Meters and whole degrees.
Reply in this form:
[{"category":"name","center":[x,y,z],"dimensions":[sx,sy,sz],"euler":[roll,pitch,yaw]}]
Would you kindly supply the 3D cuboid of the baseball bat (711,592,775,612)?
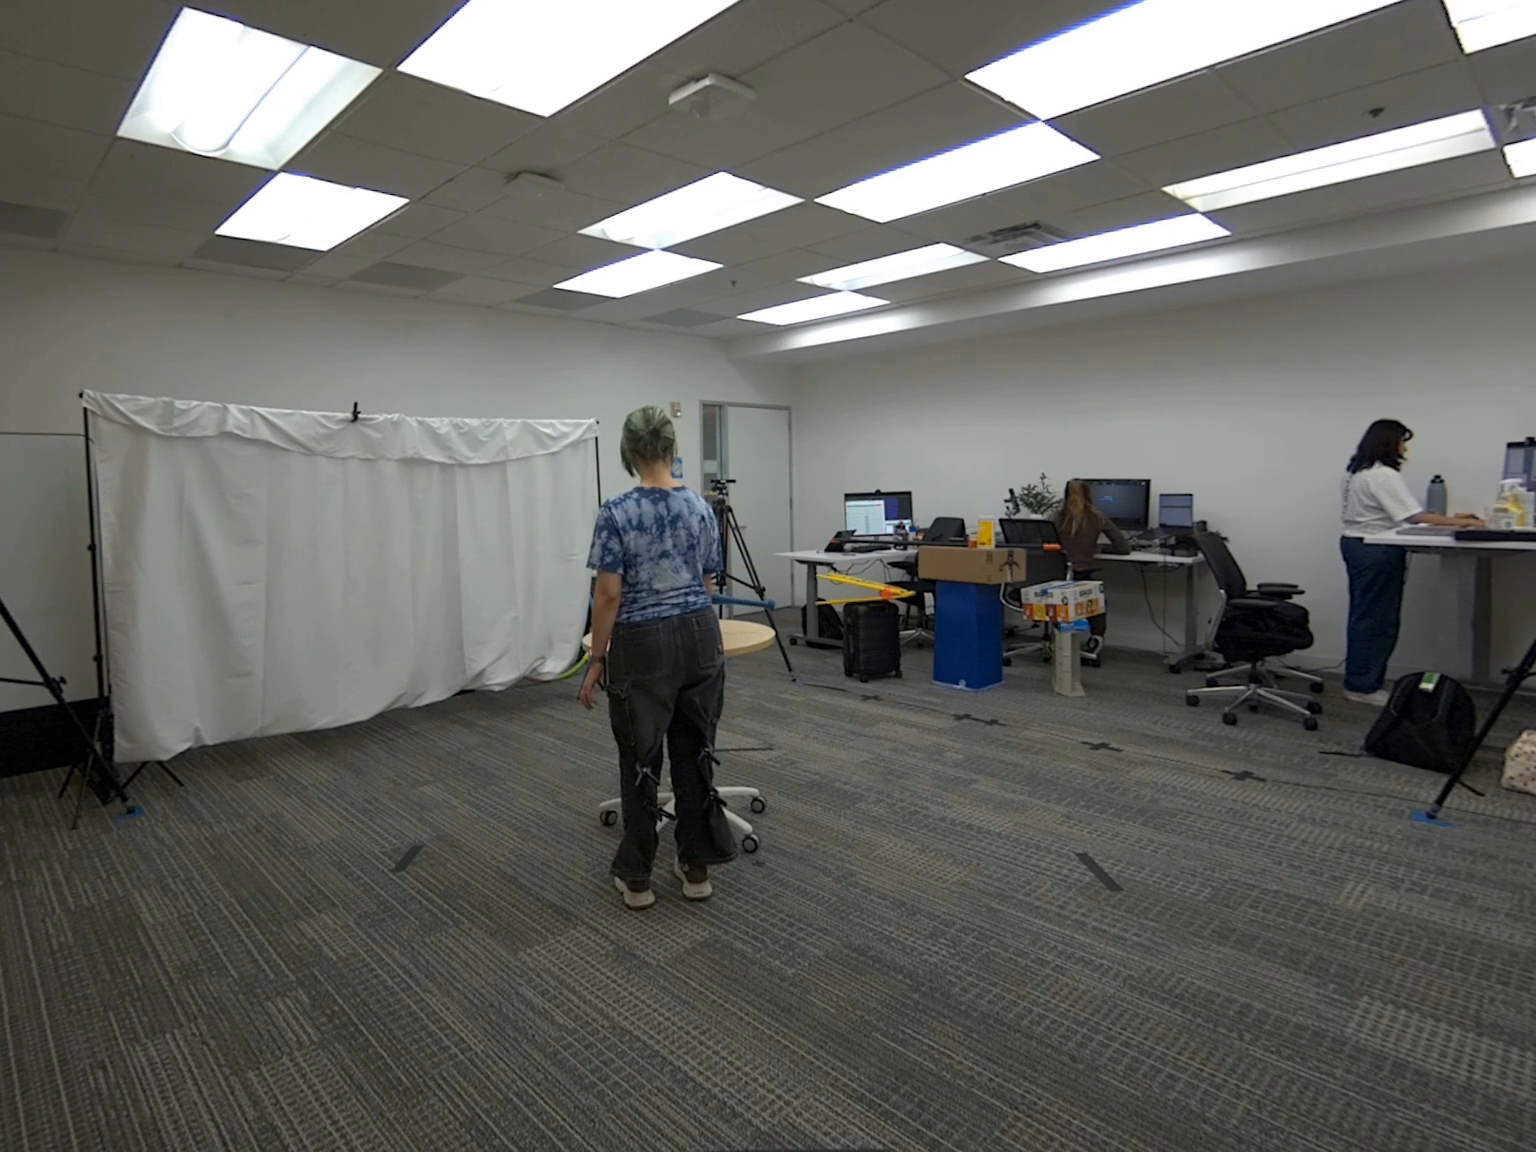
[{"category":"baseball bat","center":[-0.233,0.091,3.346],"dimensions":[0.541,0.089,0.089],"euler":[7,4,-3]}]
